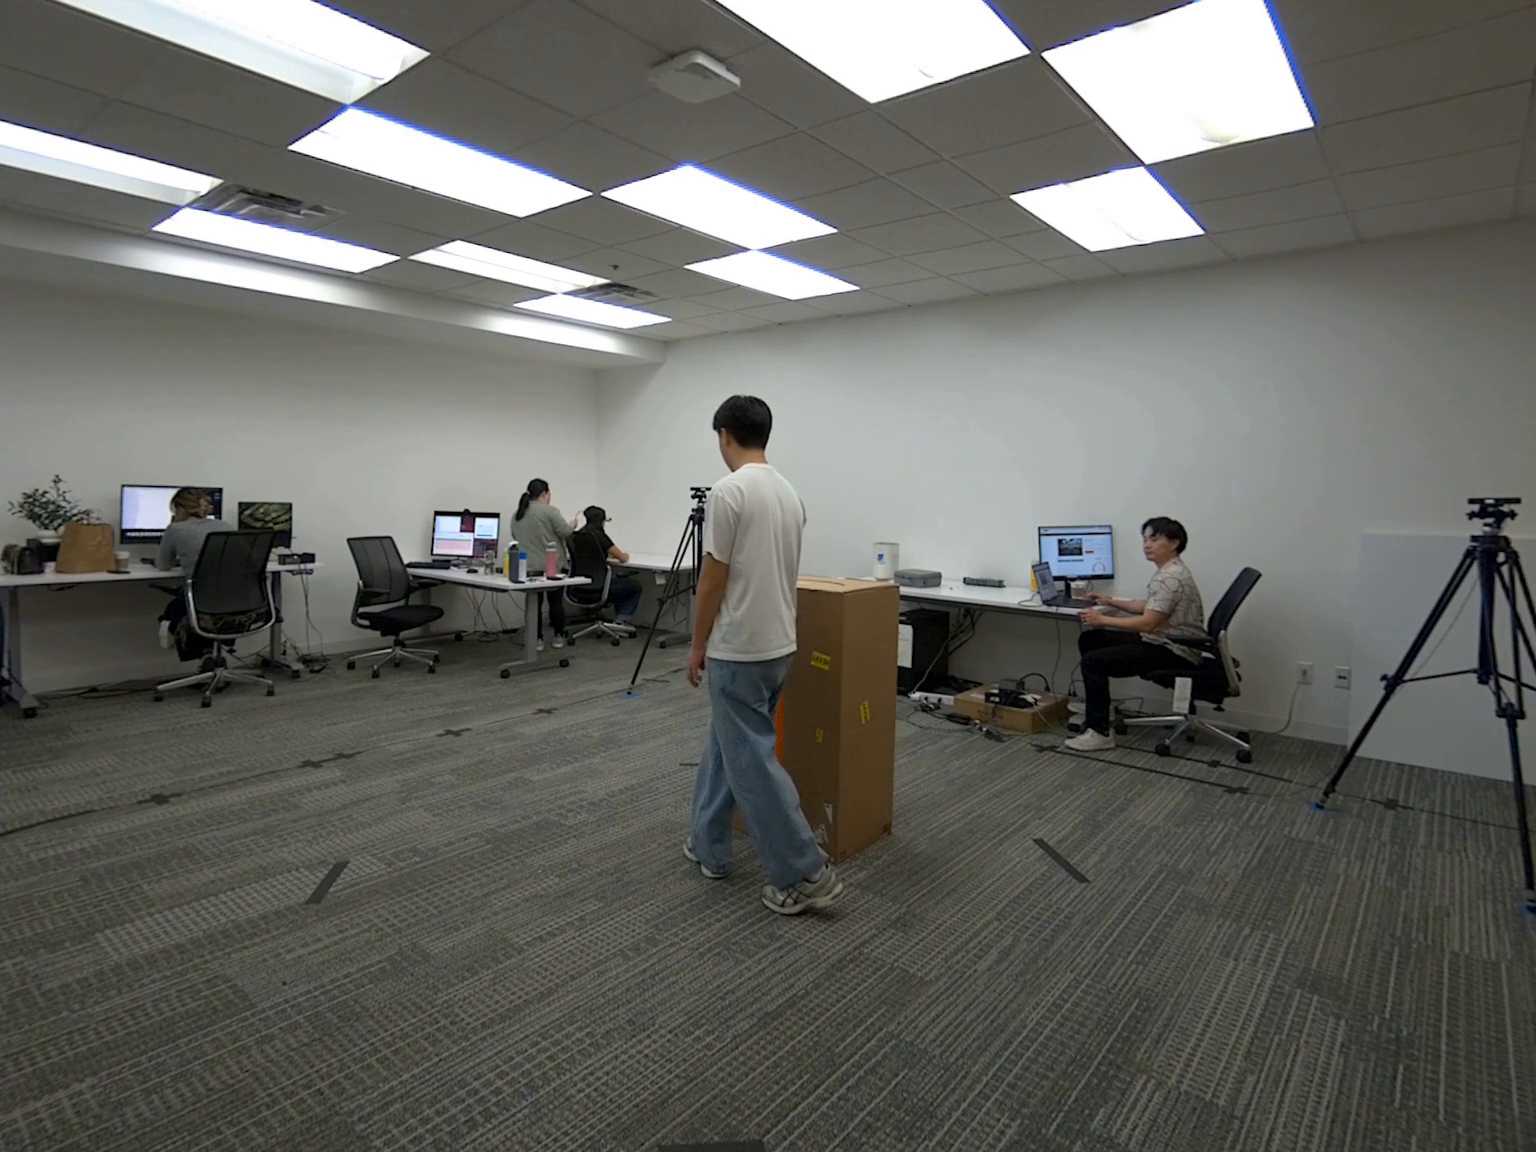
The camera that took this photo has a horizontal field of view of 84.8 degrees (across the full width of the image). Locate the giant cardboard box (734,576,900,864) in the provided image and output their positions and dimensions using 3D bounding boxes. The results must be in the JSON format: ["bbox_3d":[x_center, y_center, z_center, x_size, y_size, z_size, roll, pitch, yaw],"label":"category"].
[{"bbox_3d":[0.160,0.528,3.482,0.597,1.023,0.413,4,4,39],"label":"giant cardboard box"}]
